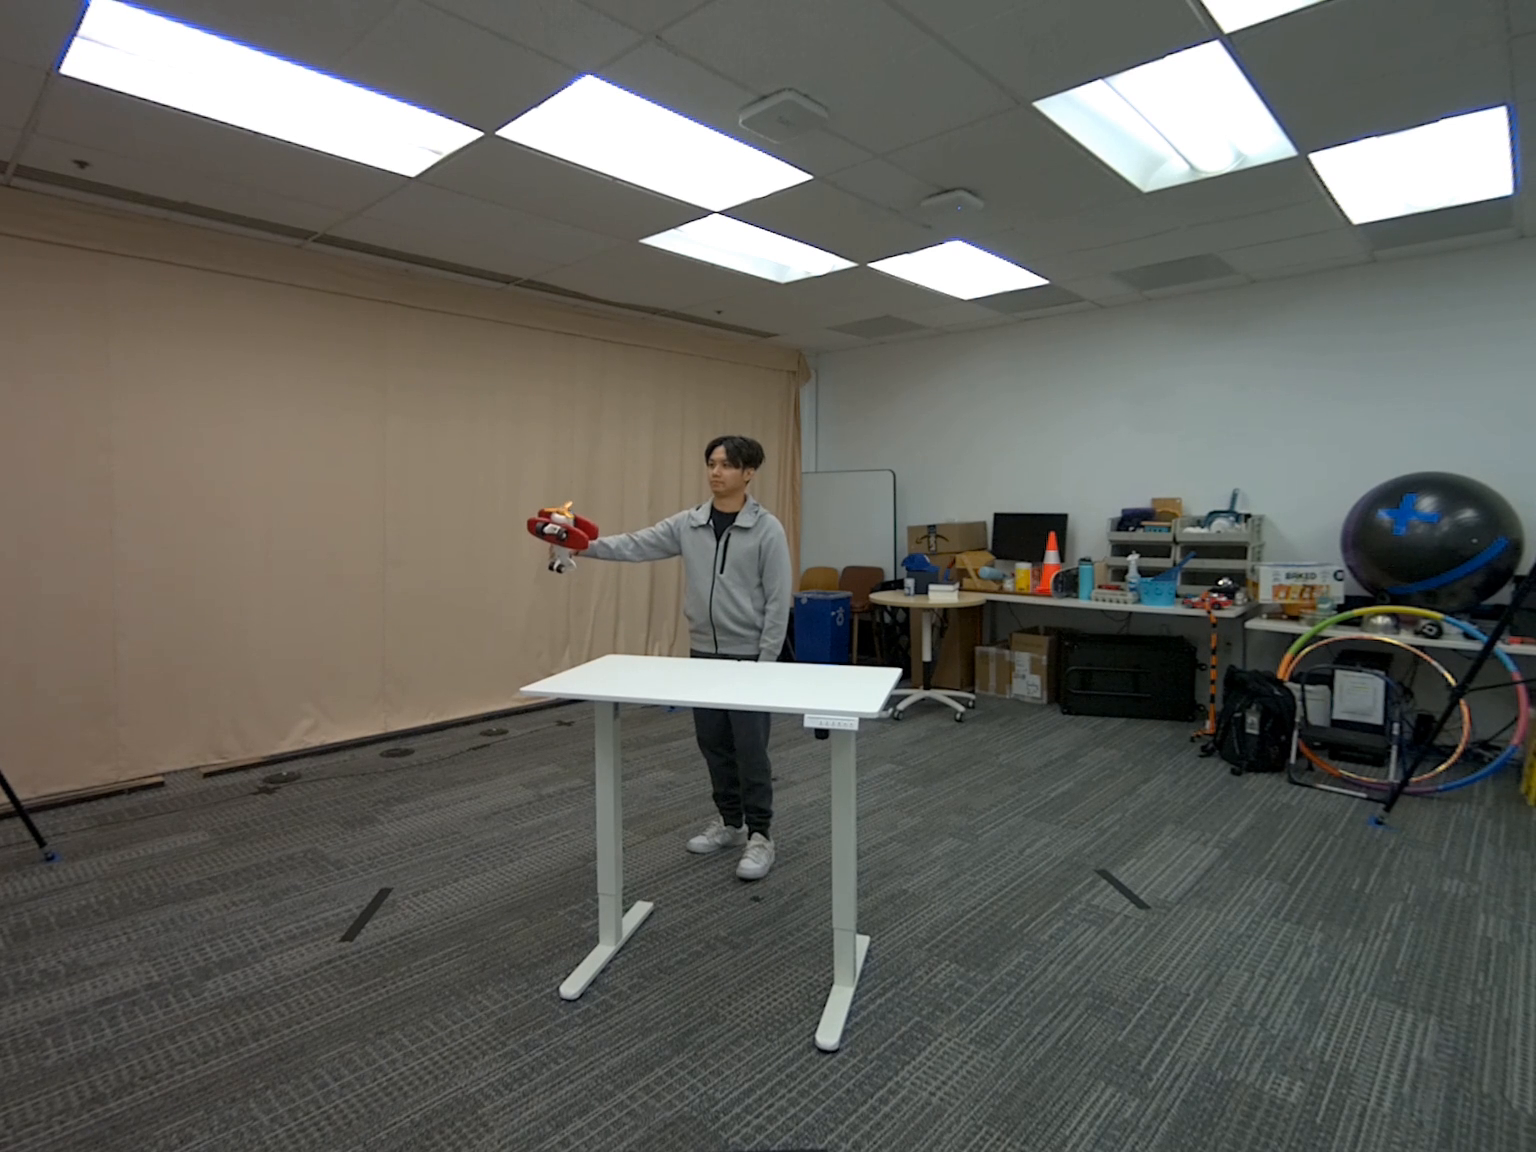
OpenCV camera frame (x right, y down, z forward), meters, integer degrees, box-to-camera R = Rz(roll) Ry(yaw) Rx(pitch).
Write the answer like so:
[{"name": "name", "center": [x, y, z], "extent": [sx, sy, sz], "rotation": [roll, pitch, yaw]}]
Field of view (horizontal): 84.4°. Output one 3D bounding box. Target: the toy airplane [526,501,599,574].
[{"name": "toy airplane", "center": [-0.784, -0.144, 3.147], "extent": [0.249, 0.156, 0.261], "rotation": [35, -41, -6]}]
